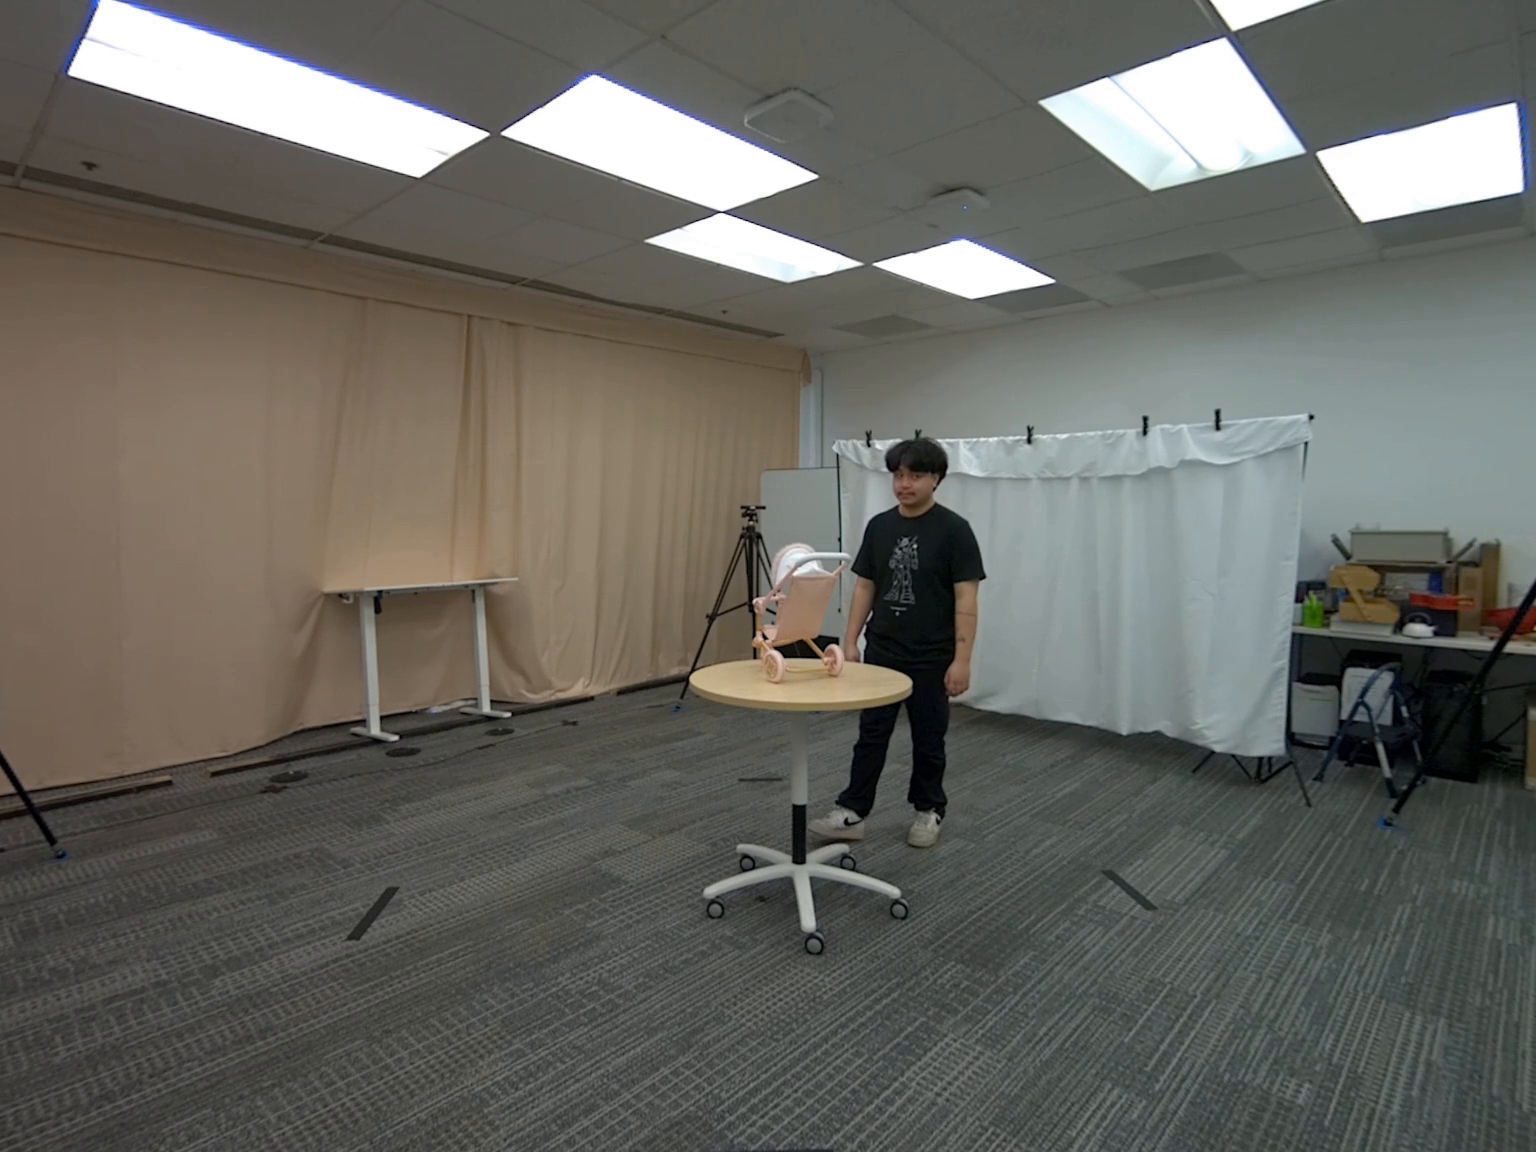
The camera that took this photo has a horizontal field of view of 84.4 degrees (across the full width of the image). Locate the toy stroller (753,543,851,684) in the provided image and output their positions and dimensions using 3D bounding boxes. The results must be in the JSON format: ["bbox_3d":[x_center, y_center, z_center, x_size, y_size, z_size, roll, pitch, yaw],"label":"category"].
[{"bbox_3d":[0.097,0.126,2.957,0.275,0.531,0.352,0,17,-25],"label":"toy stroller"}]
